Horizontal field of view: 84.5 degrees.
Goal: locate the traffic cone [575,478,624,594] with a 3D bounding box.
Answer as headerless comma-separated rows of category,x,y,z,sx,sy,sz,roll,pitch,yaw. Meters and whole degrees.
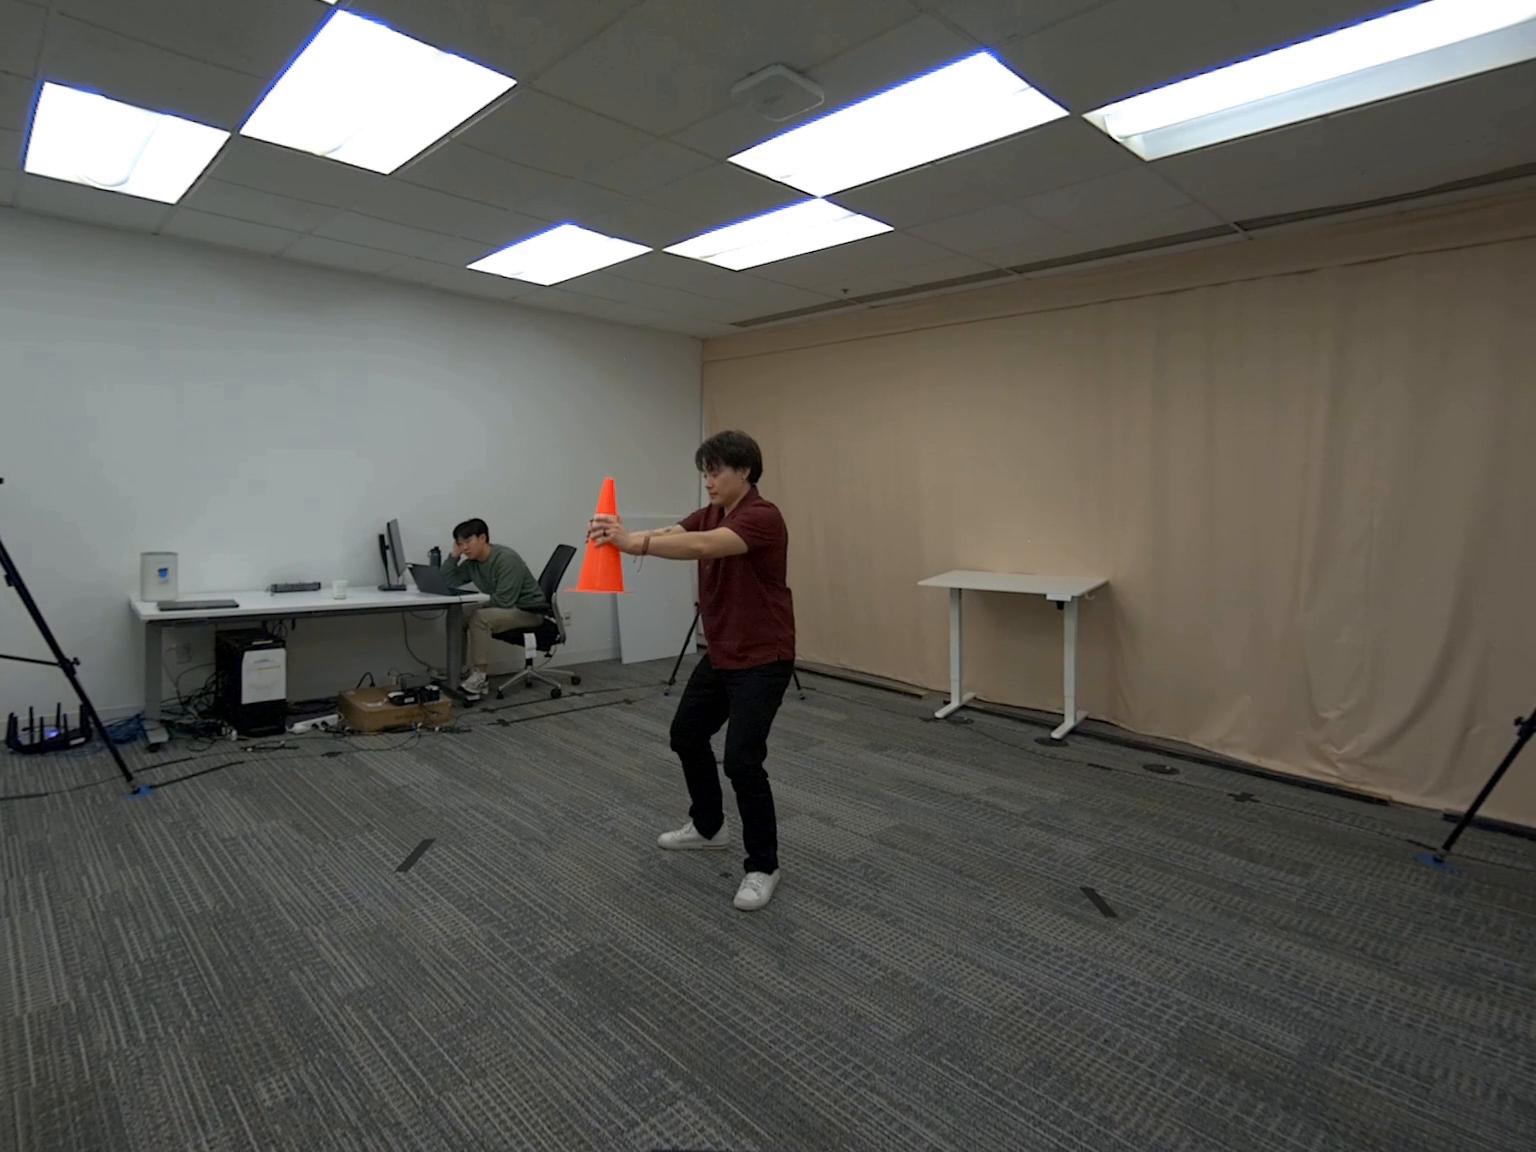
traffic cone,-0.561,-0.132,2.833,0.201,0.384,0.207,5,-1,-12
